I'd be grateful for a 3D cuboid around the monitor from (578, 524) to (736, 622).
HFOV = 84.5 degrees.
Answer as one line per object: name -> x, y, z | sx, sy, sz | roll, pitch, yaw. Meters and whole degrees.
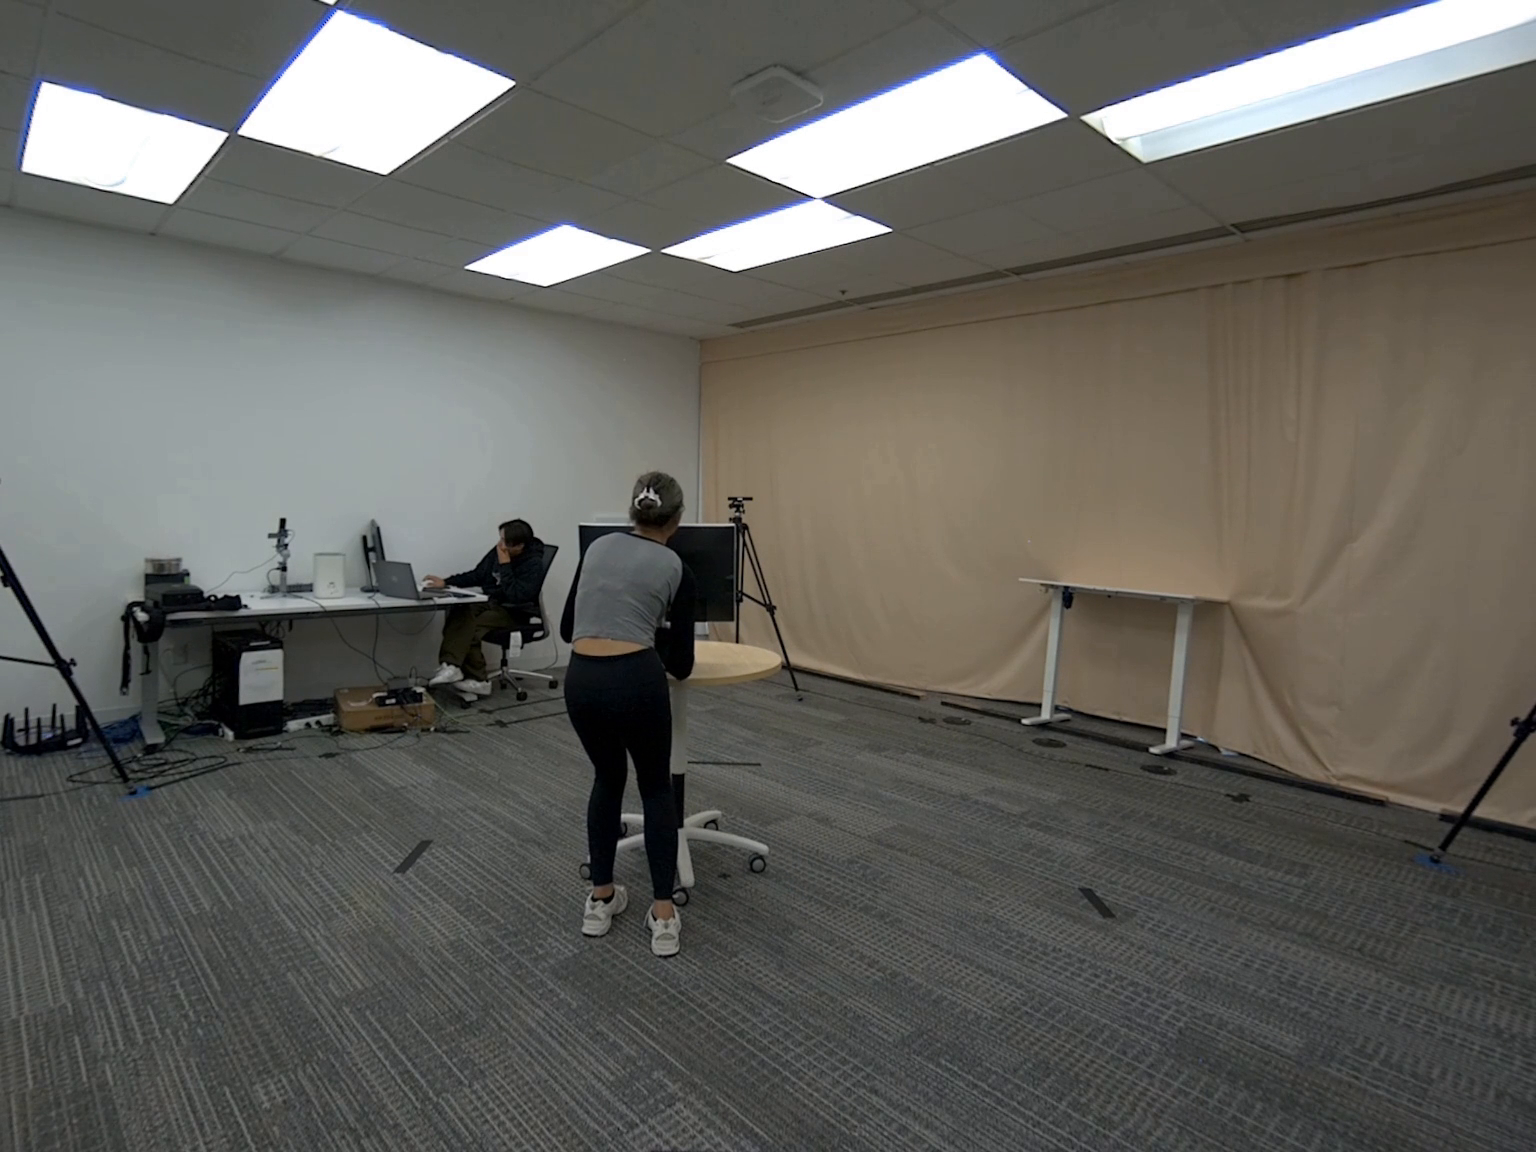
monitor -> -0.388, 0.079, 2.980 | 0.538, 0.521, 0.187 | 0, 2, -1
